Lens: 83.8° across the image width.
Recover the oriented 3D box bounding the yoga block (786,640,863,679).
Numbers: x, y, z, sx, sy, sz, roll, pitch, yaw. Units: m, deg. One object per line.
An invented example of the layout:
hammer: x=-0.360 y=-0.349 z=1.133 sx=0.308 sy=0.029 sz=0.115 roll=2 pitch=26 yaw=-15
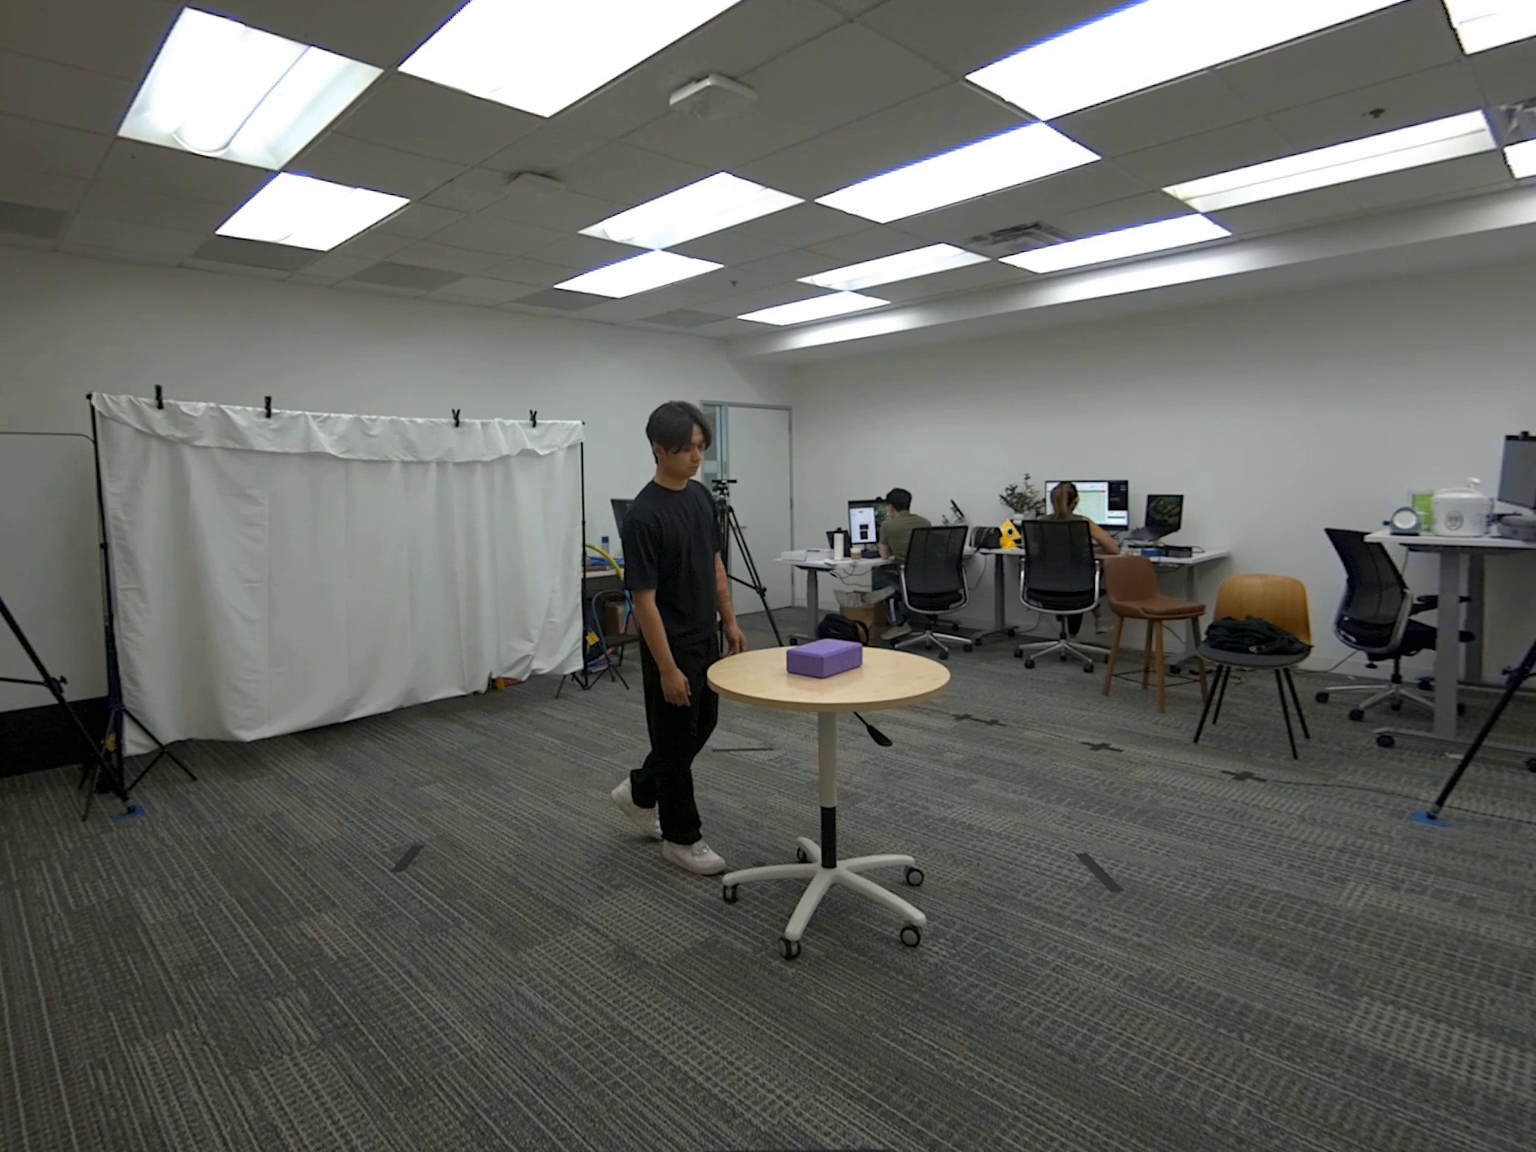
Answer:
yoga block: x=0.186 y=0.263 z=2.740 sx=0.153 sy=0.076 sz=0.223 roll=5 pitch=9 yaw=41
